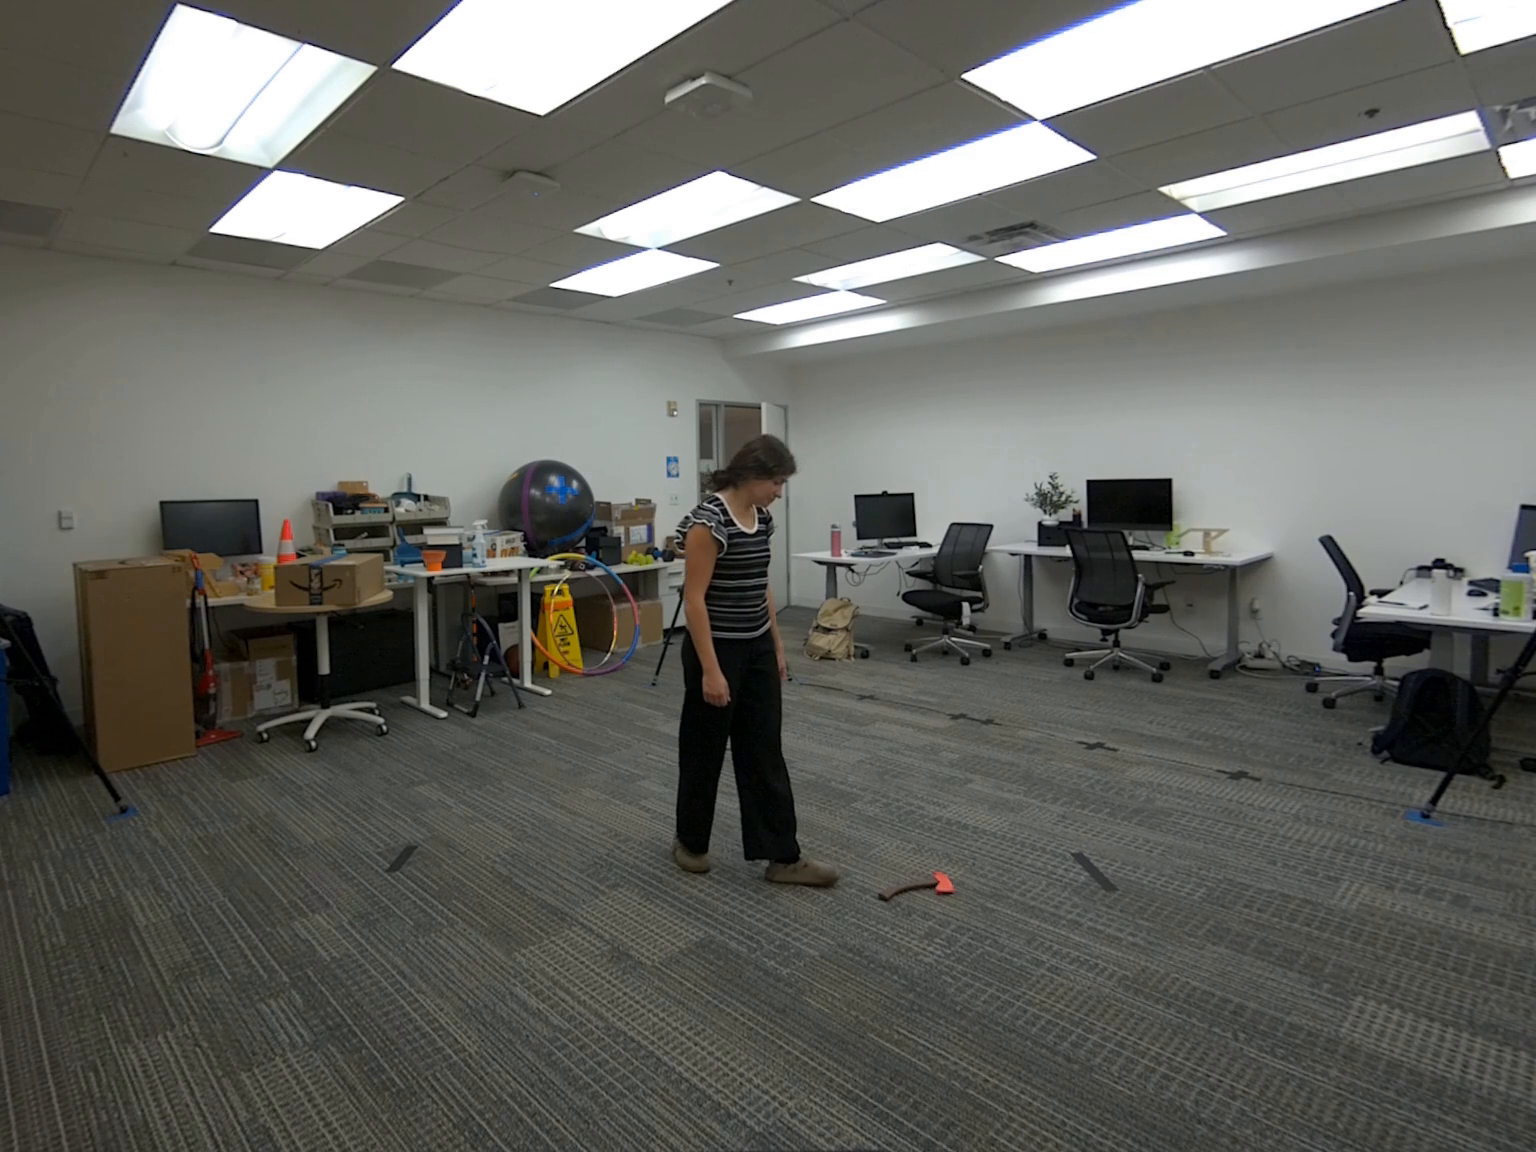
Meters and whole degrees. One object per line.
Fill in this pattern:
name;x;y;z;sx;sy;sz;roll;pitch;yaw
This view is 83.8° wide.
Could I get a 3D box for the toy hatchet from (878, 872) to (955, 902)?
toy hatchet;0.508;1.046;2.855;0.264;0.029;0.135;-8;12;-33
